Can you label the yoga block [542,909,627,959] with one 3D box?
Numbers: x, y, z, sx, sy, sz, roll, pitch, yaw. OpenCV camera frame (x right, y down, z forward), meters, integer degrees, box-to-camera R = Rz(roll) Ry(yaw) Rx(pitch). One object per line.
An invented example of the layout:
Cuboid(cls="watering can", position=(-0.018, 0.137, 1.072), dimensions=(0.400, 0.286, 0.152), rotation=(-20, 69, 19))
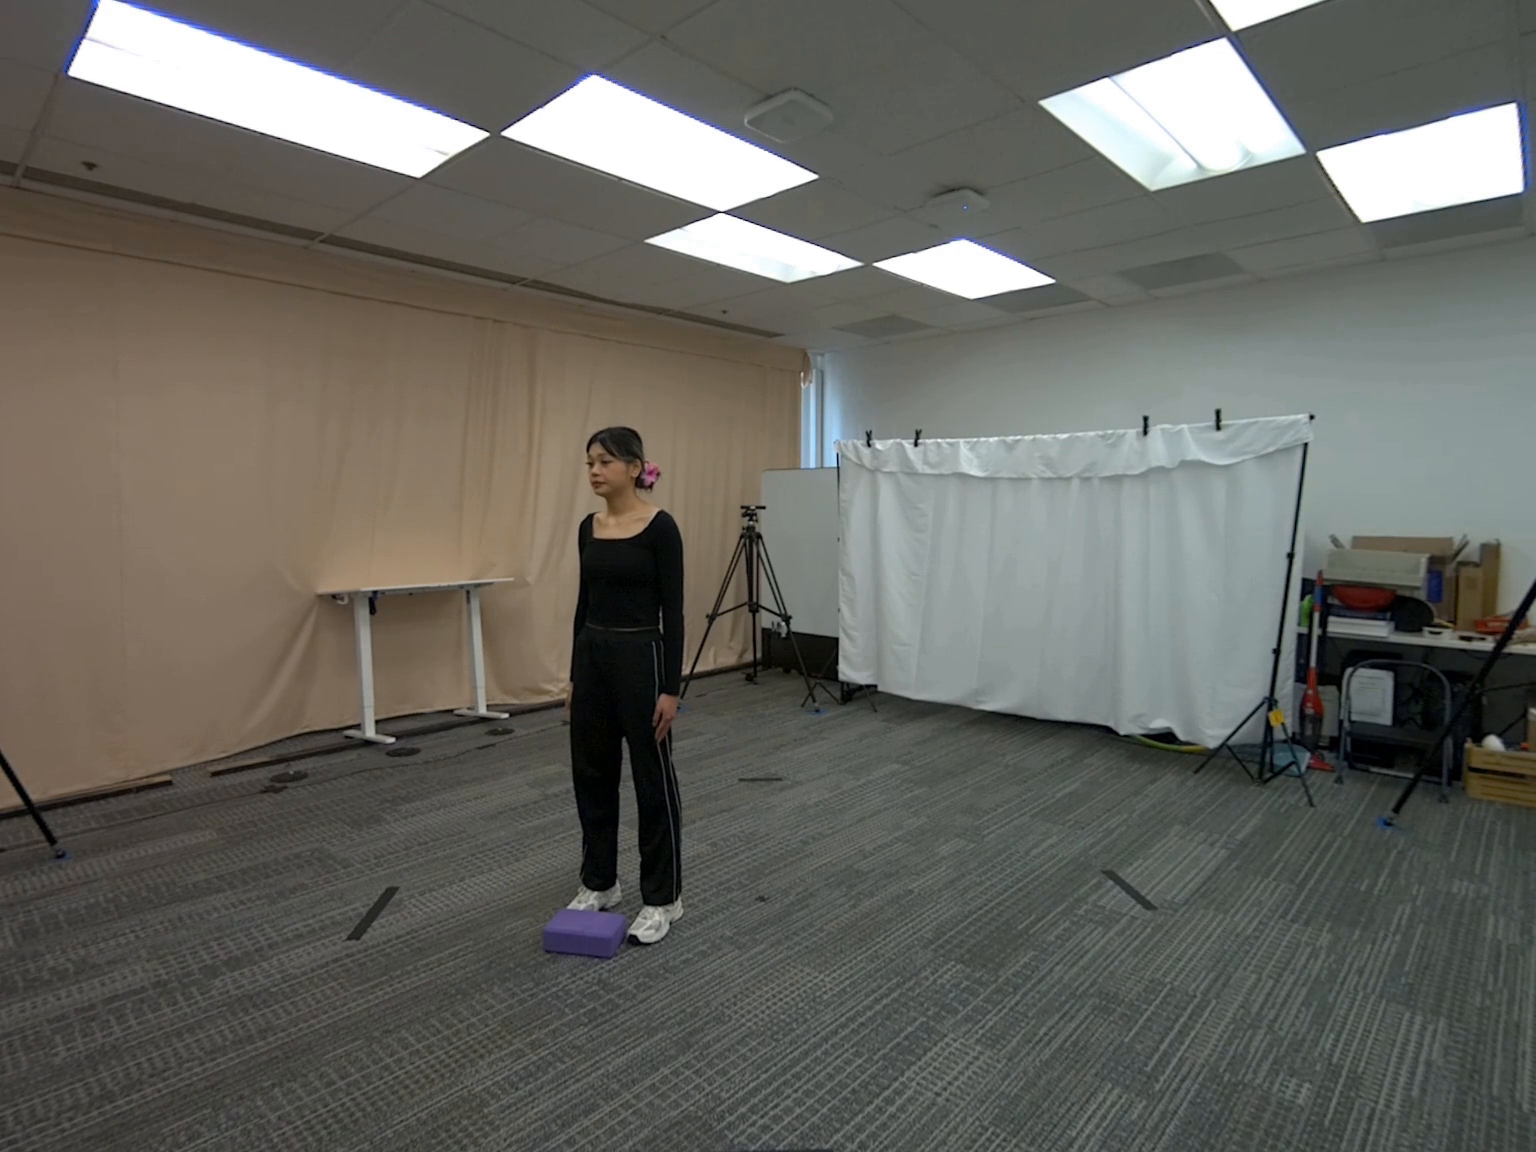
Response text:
Cuboid(cls="yoga block", position=(-0.579, 1.132, 2.679), dimensions=(0.233, 0.076, 0.147), rotation=(2, 4, 13))
